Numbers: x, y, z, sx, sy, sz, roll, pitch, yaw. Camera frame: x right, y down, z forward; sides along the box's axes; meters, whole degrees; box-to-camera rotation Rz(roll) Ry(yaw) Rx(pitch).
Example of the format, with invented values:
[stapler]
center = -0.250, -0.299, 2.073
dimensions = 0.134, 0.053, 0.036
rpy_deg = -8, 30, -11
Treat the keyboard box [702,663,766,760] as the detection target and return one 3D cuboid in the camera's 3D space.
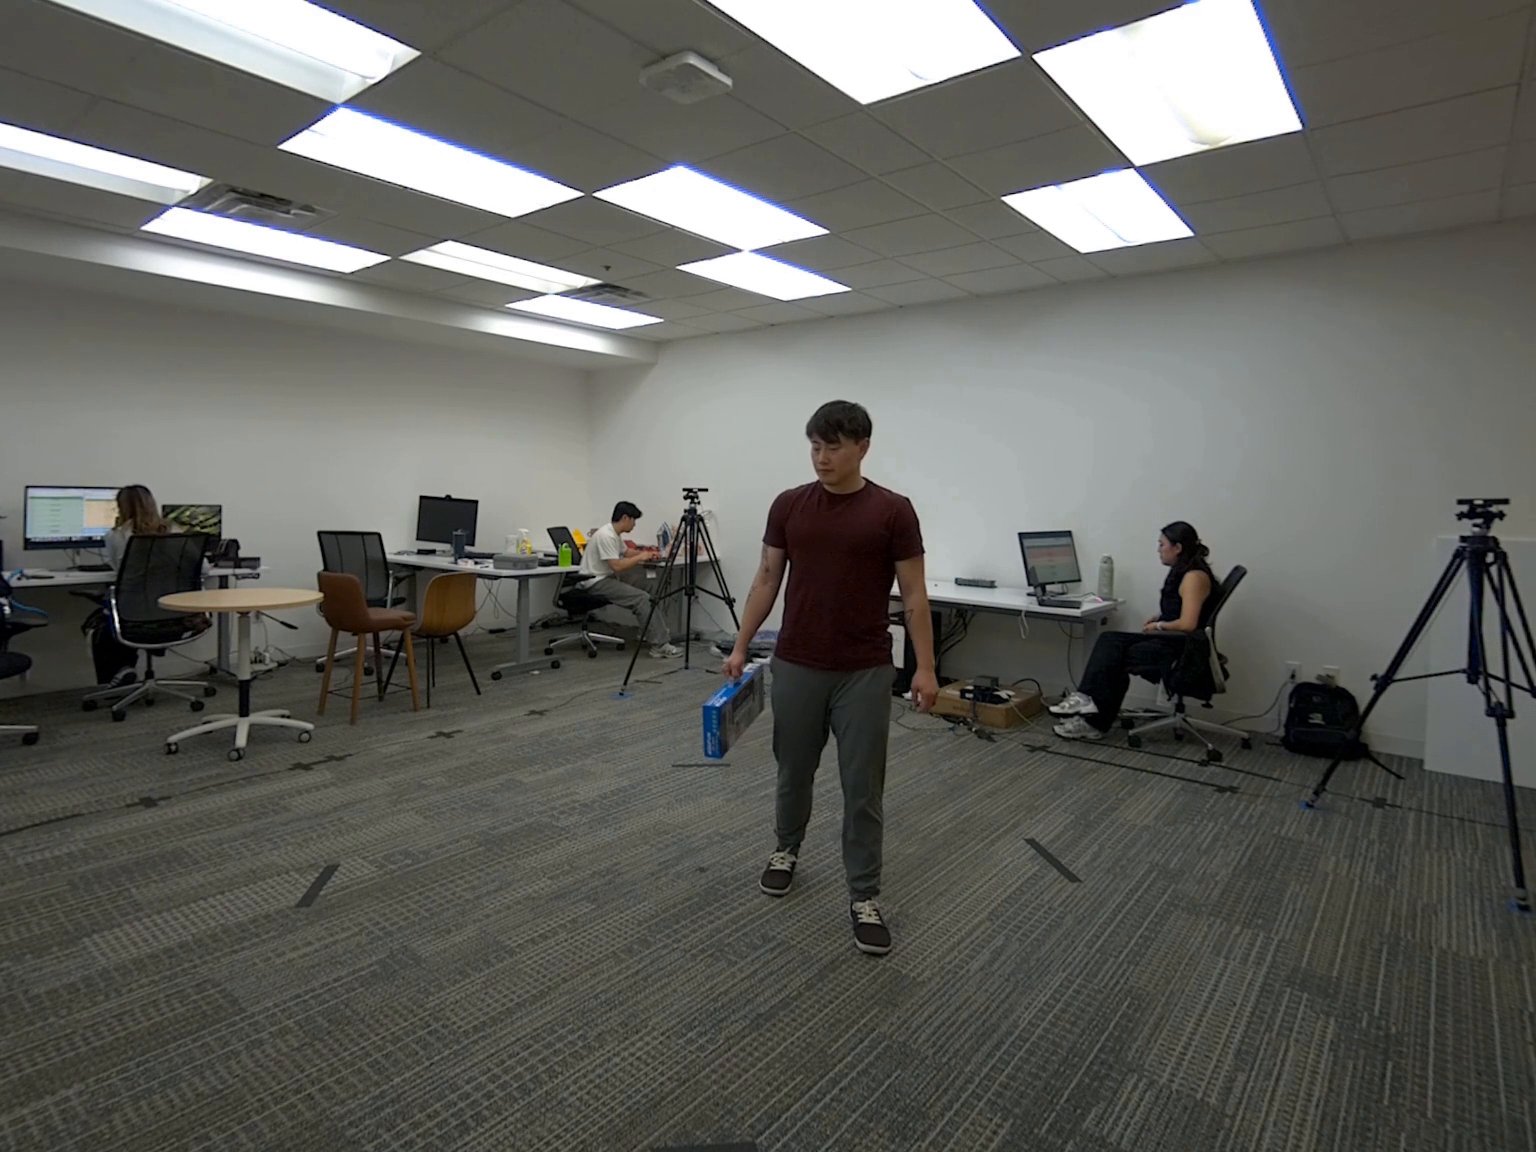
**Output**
[keyboard box]
center = -0.118, 0.440, 2.838
dimensions = 0.060, 0.174, 0.432
rpy_deg = 1, 12, 18
